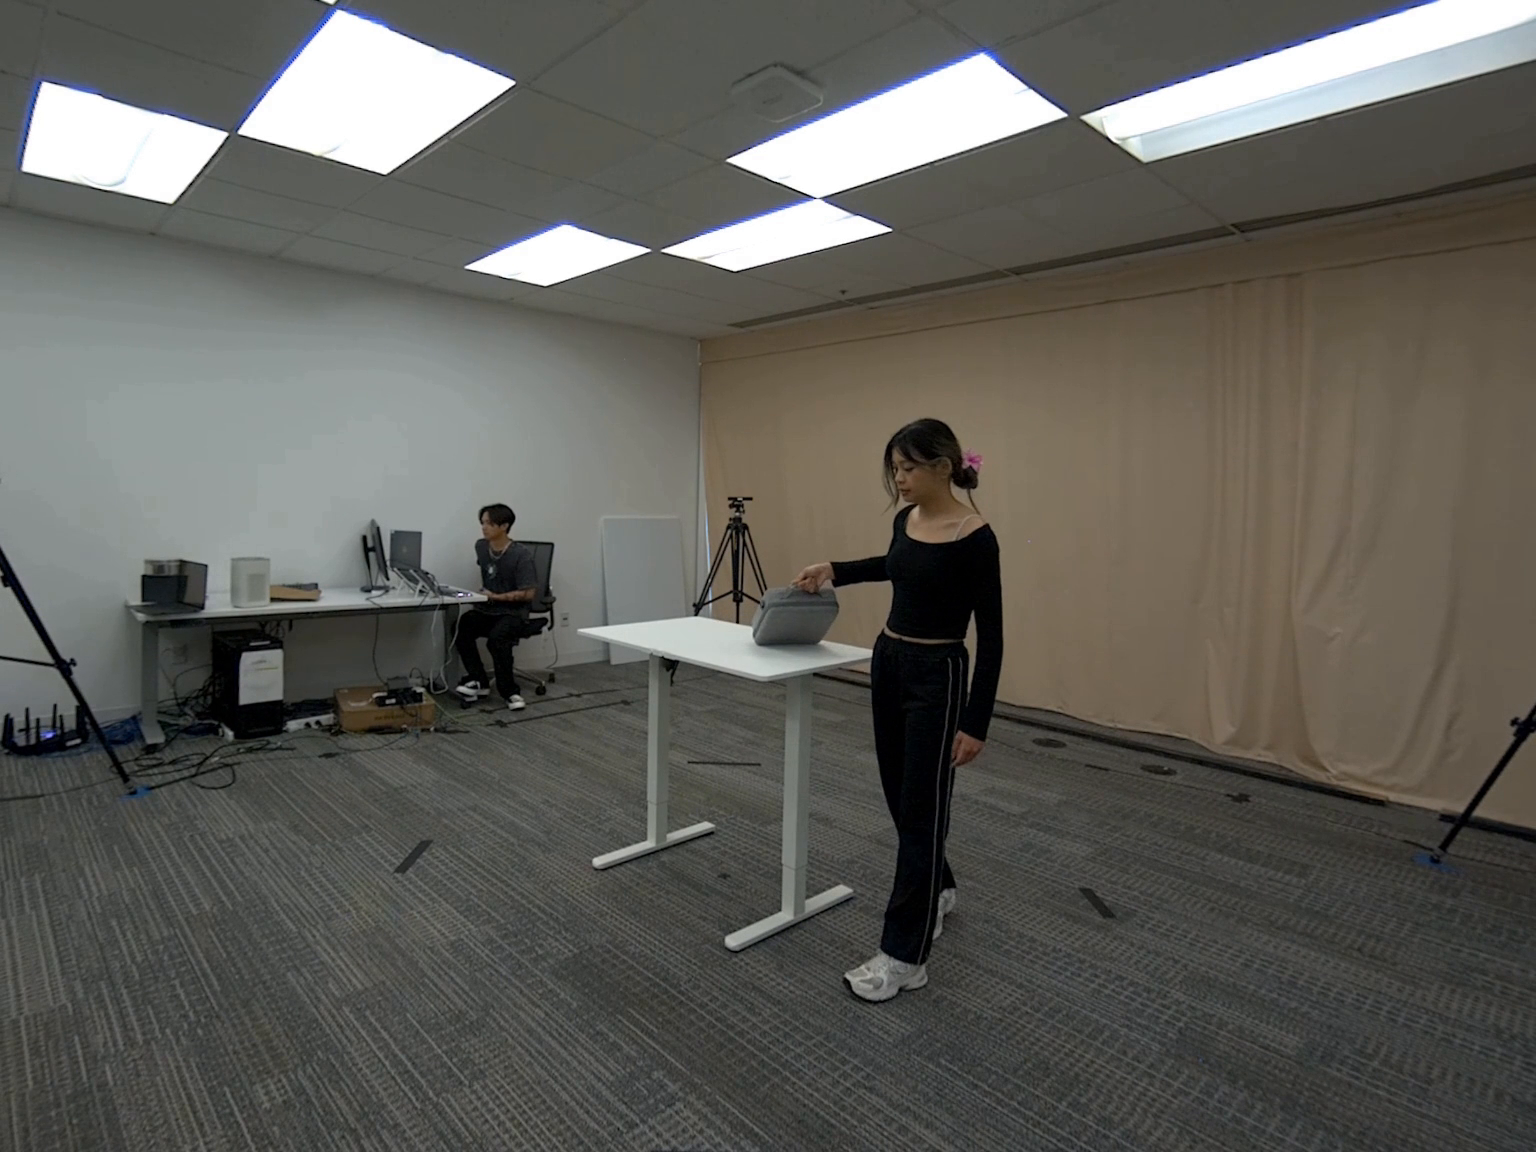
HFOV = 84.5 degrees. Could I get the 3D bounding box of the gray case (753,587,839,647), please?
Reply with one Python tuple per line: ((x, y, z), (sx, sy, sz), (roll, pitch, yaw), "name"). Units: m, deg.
((0.075, 0.136, 2.891), (0.254, 0.107, 0.258), (1, -32, -15), "gray case")
